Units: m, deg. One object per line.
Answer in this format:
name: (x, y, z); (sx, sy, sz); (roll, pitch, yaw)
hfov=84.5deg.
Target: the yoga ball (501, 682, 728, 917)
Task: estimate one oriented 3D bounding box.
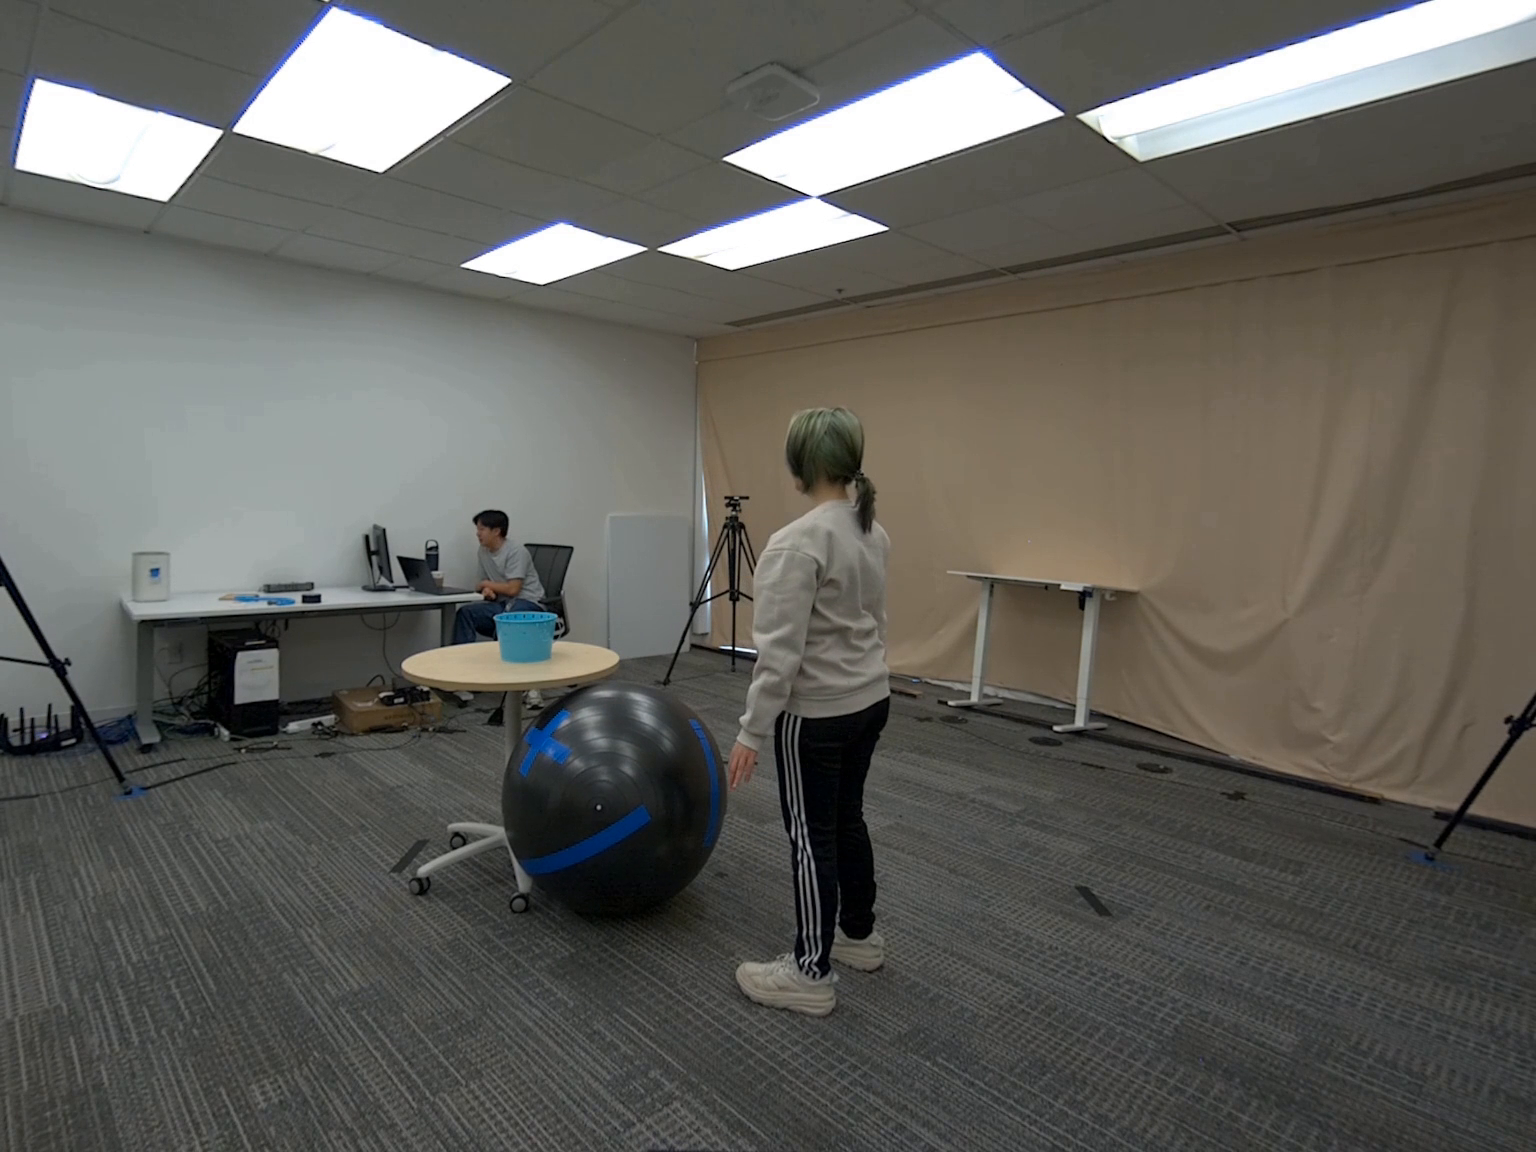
yoga ball: (-0.517, 0.745, 2.867); (0.757, 0.756, 0.761); (1, 4, -1)
